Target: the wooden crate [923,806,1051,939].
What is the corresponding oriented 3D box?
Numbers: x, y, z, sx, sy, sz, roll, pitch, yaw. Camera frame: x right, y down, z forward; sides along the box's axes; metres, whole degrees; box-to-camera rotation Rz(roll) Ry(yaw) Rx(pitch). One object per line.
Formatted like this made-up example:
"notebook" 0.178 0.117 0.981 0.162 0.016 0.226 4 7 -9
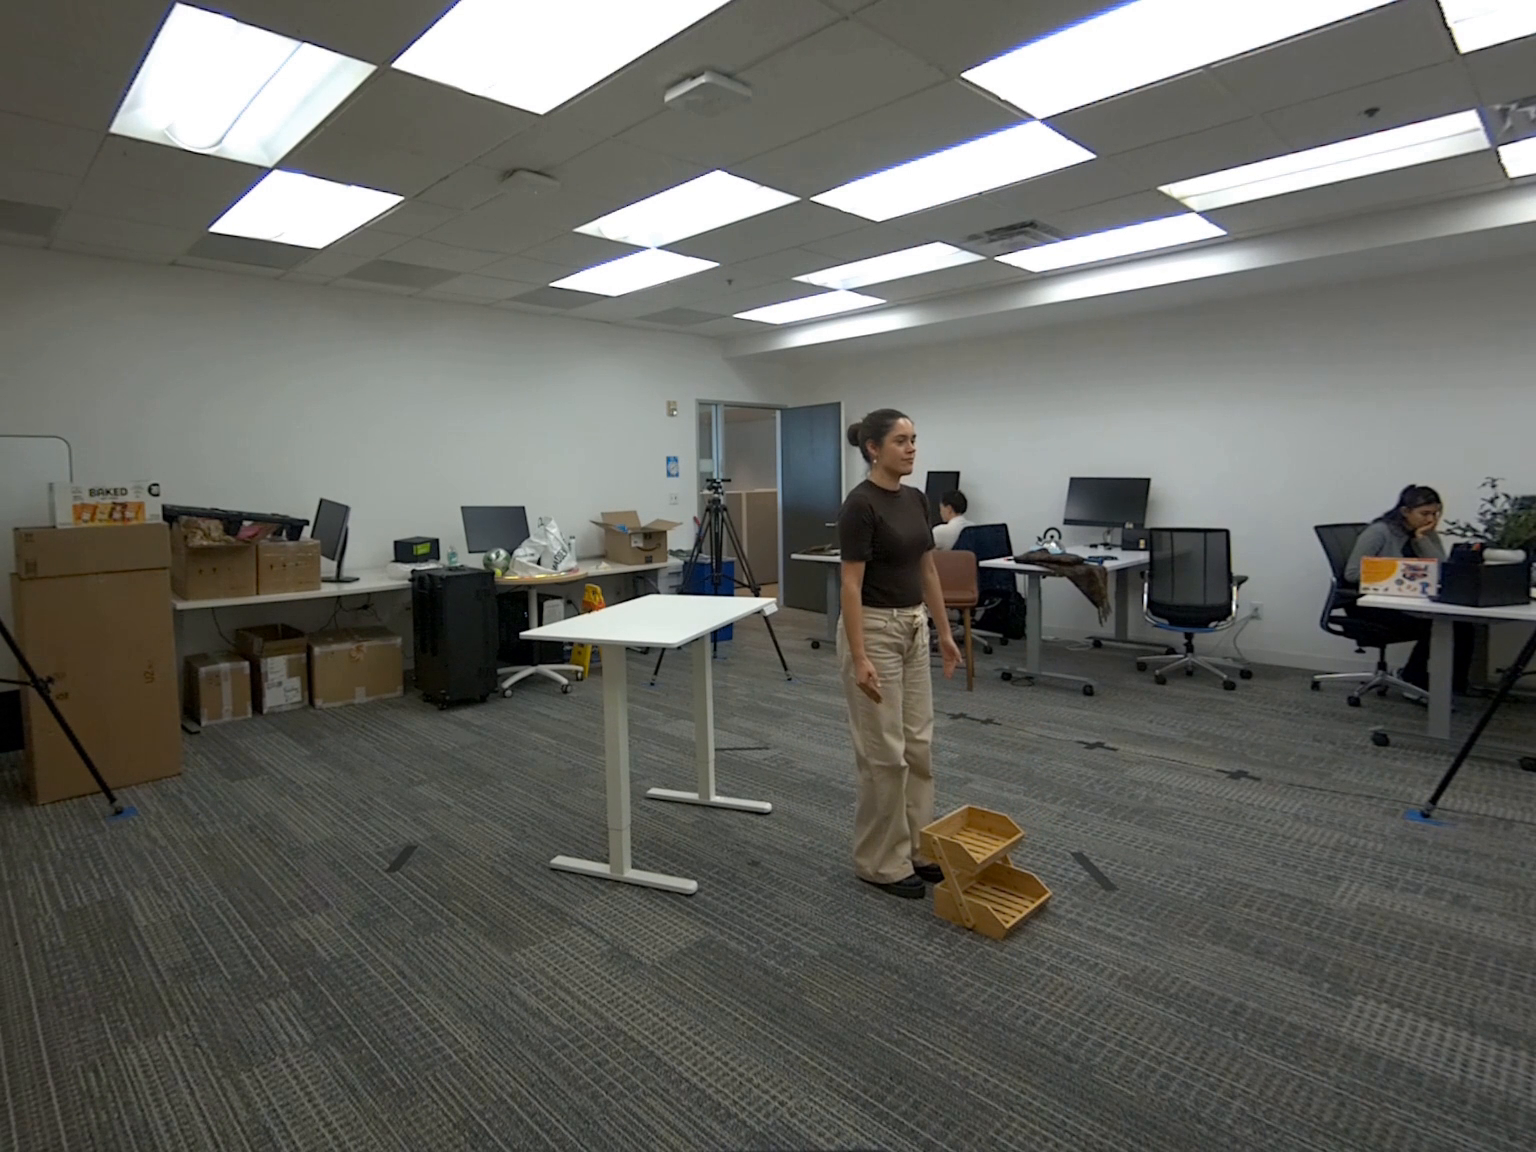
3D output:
"wooden crate" 0.709 0.943 2.742 0.311 0.272 0.316 2 6 44
